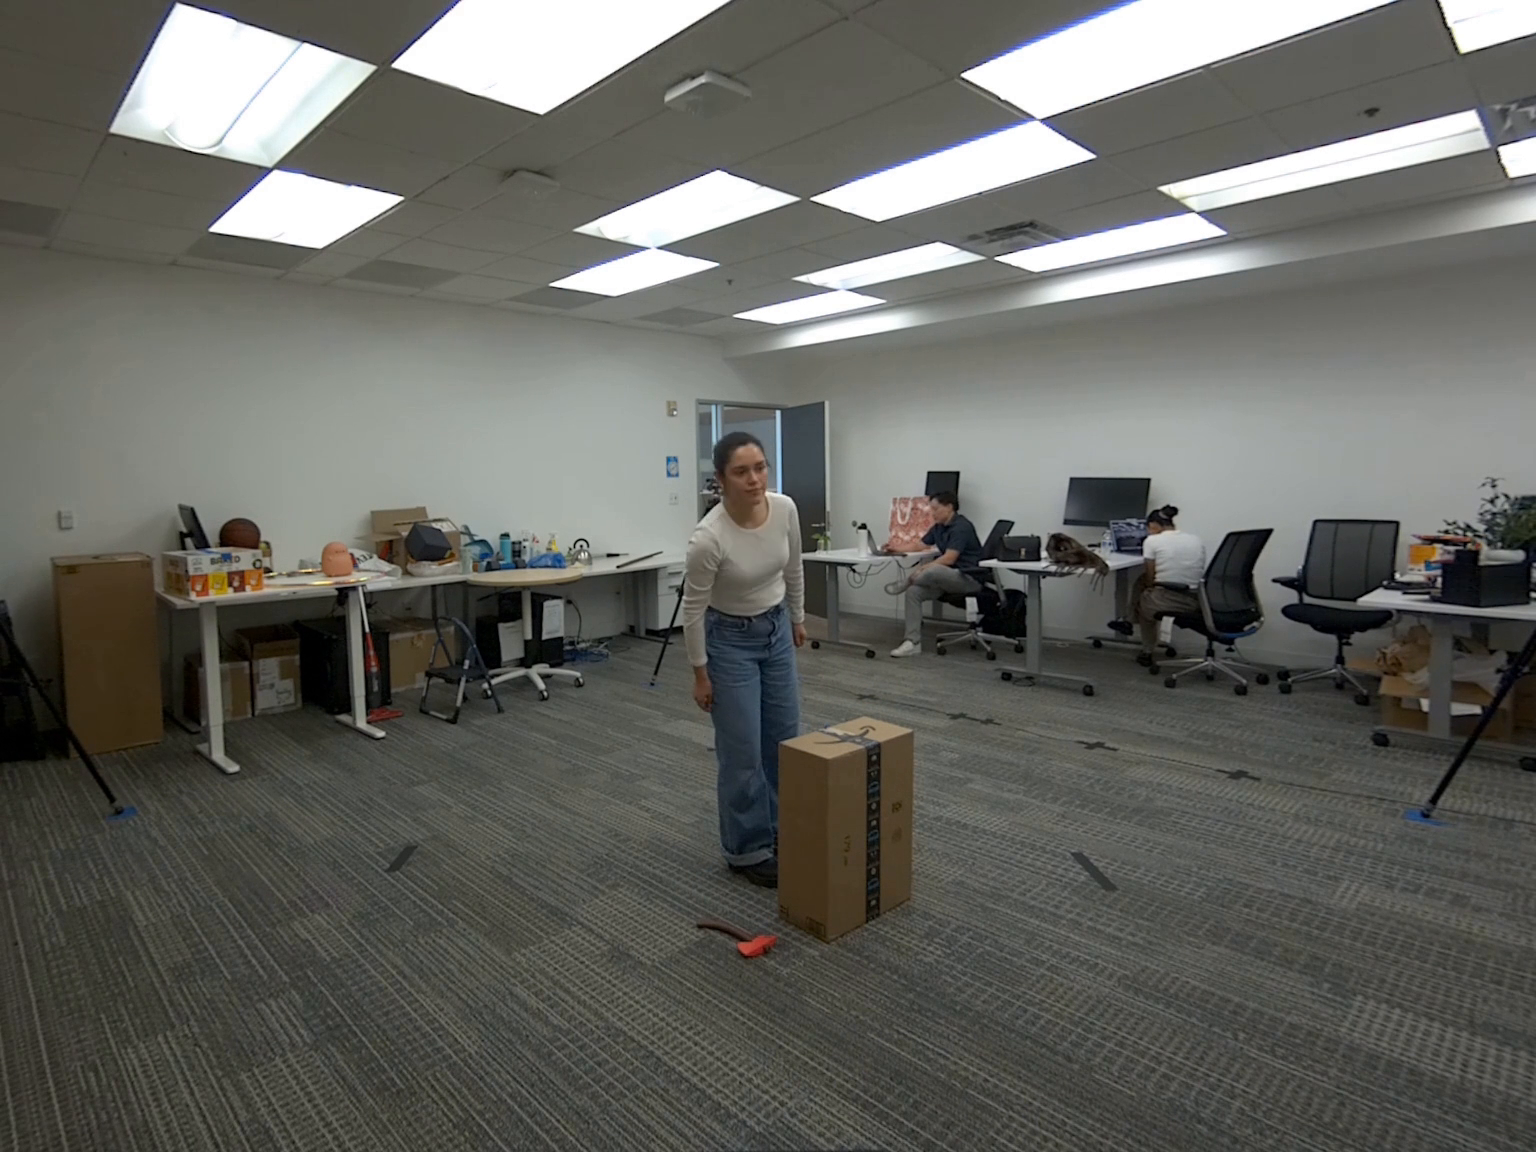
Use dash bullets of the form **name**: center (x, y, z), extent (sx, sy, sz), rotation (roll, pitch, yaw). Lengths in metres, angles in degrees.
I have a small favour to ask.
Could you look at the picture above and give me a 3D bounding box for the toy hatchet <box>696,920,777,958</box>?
- **toy hatchet**: center (-0.113, 1.099, 2.583), extent (0.276, 0.029, 0.129), rotation (0, 10, 28)
